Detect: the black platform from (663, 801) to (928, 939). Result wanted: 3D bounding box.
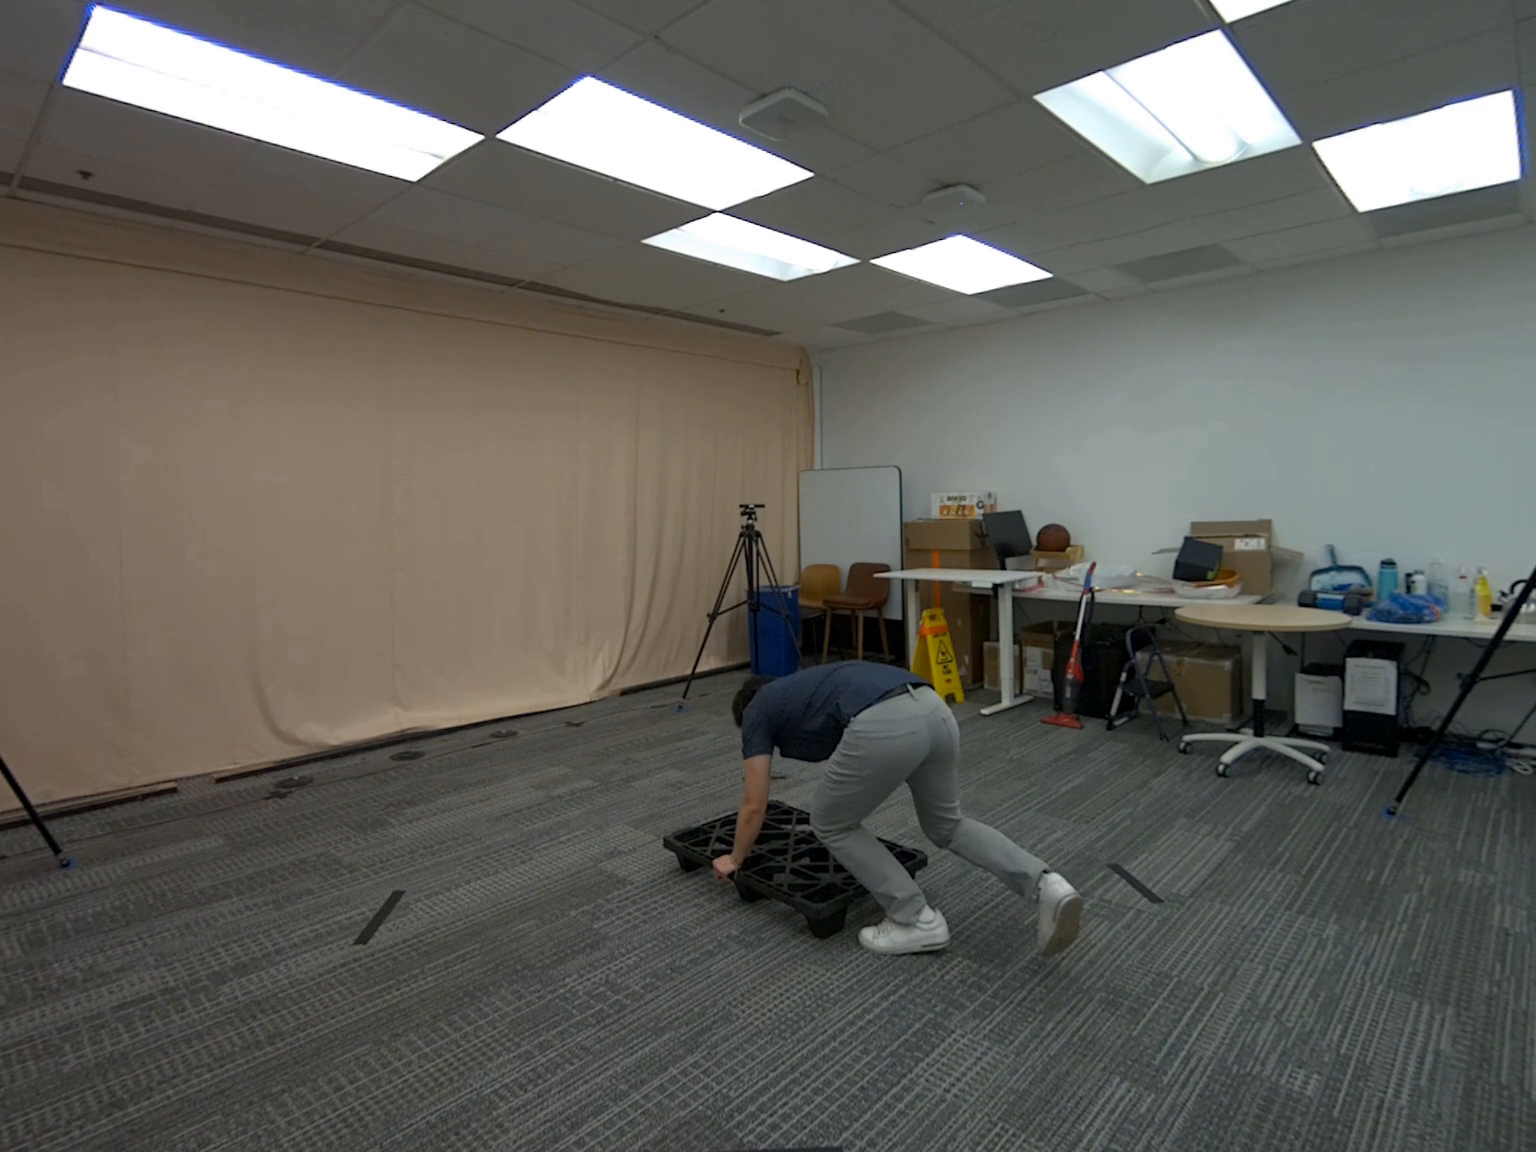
[{"bbox_3d":[0.087,1.059,3.111,0.587,0.143,0.832,-5,7,-43],"label":"black platform"}]
